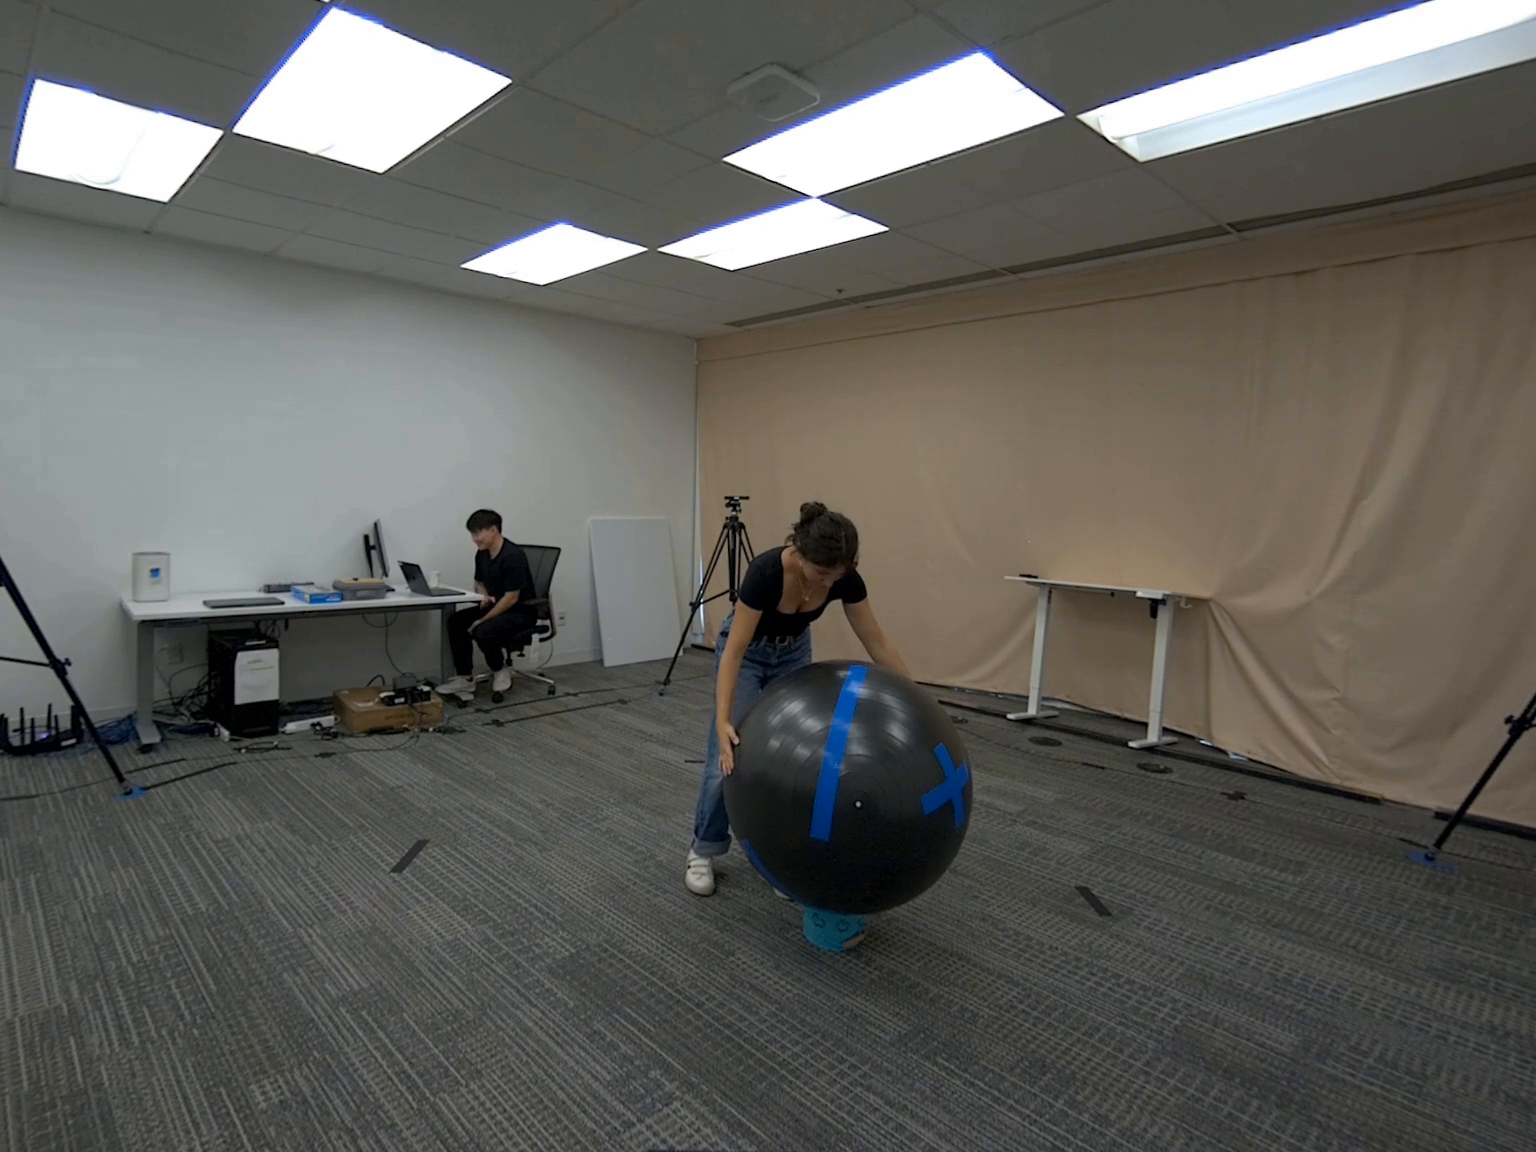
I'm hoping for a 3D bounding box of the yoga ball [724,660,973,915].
[{"bbox_3d":[0.239,0.644,2.606,0.757,0.756,0.761,1,4,-1],"label":"yoga ball"}]
